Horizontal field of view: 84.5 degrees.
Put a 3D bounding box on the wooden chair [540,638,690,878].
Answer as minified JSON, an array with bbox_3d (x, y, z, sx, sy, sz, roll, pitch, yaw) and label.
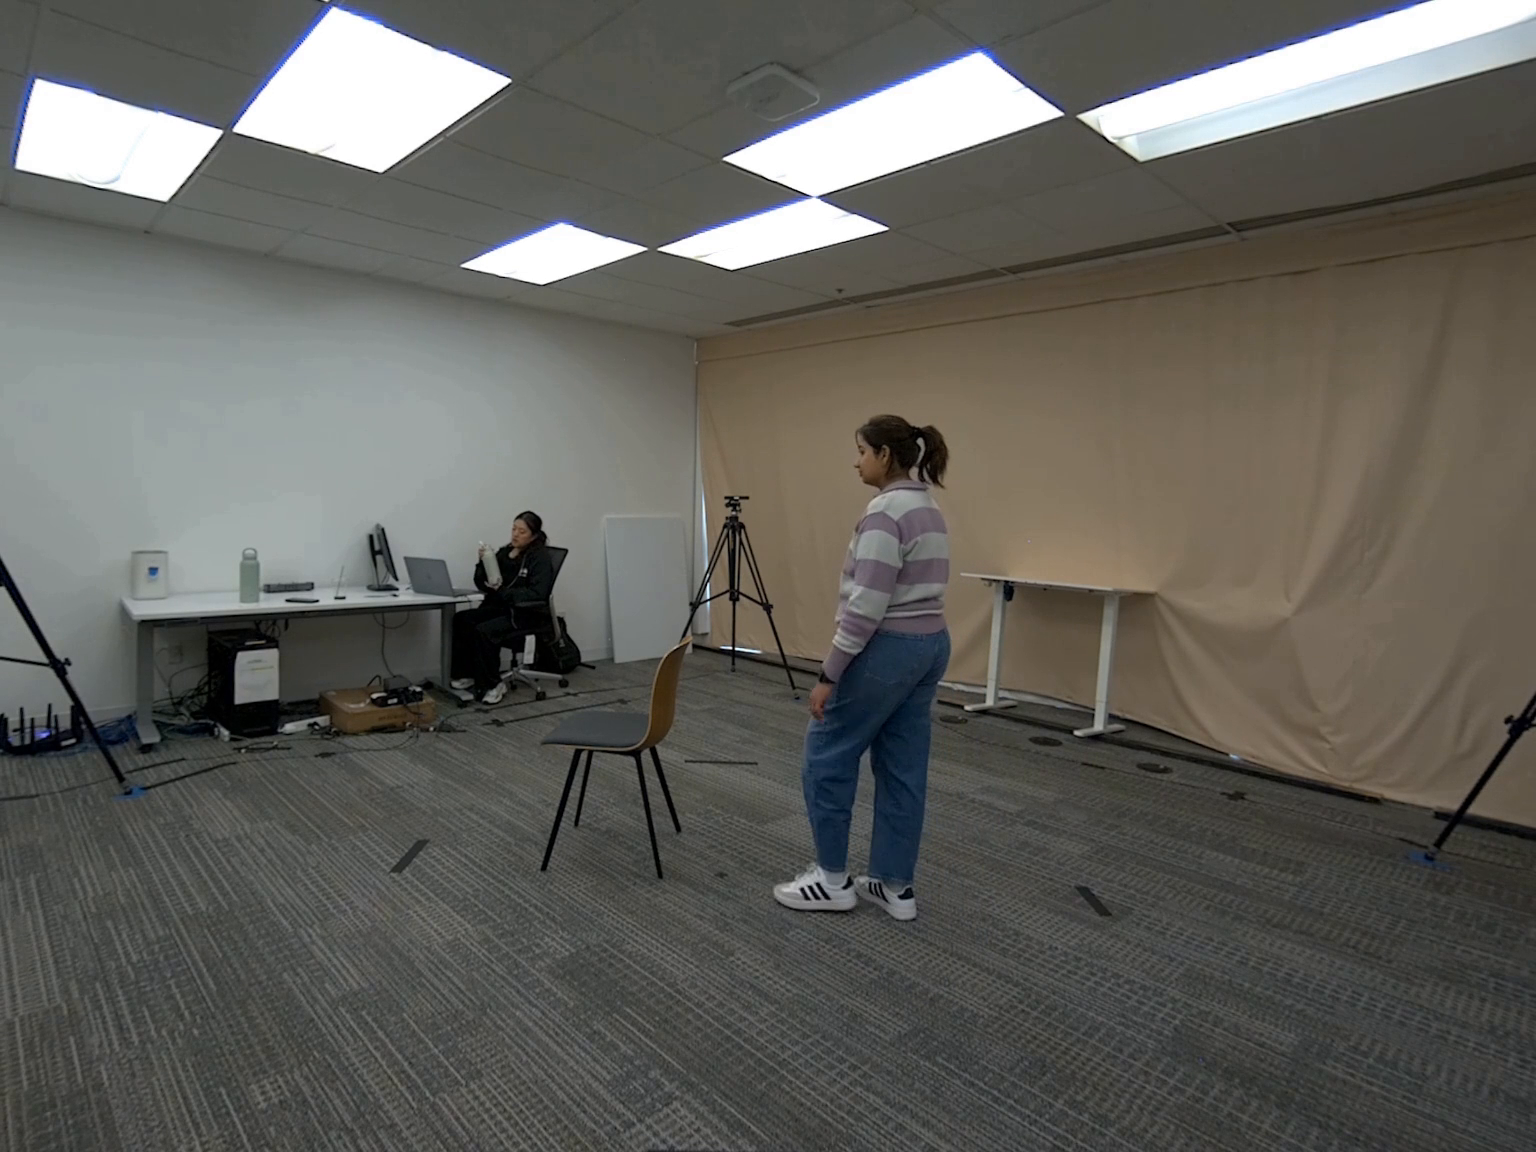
[{"bbox_3d":[-0.598,0.653,3.265,0.525,0.875,0.478,5,4,3],"label":"wooden chair"}]
